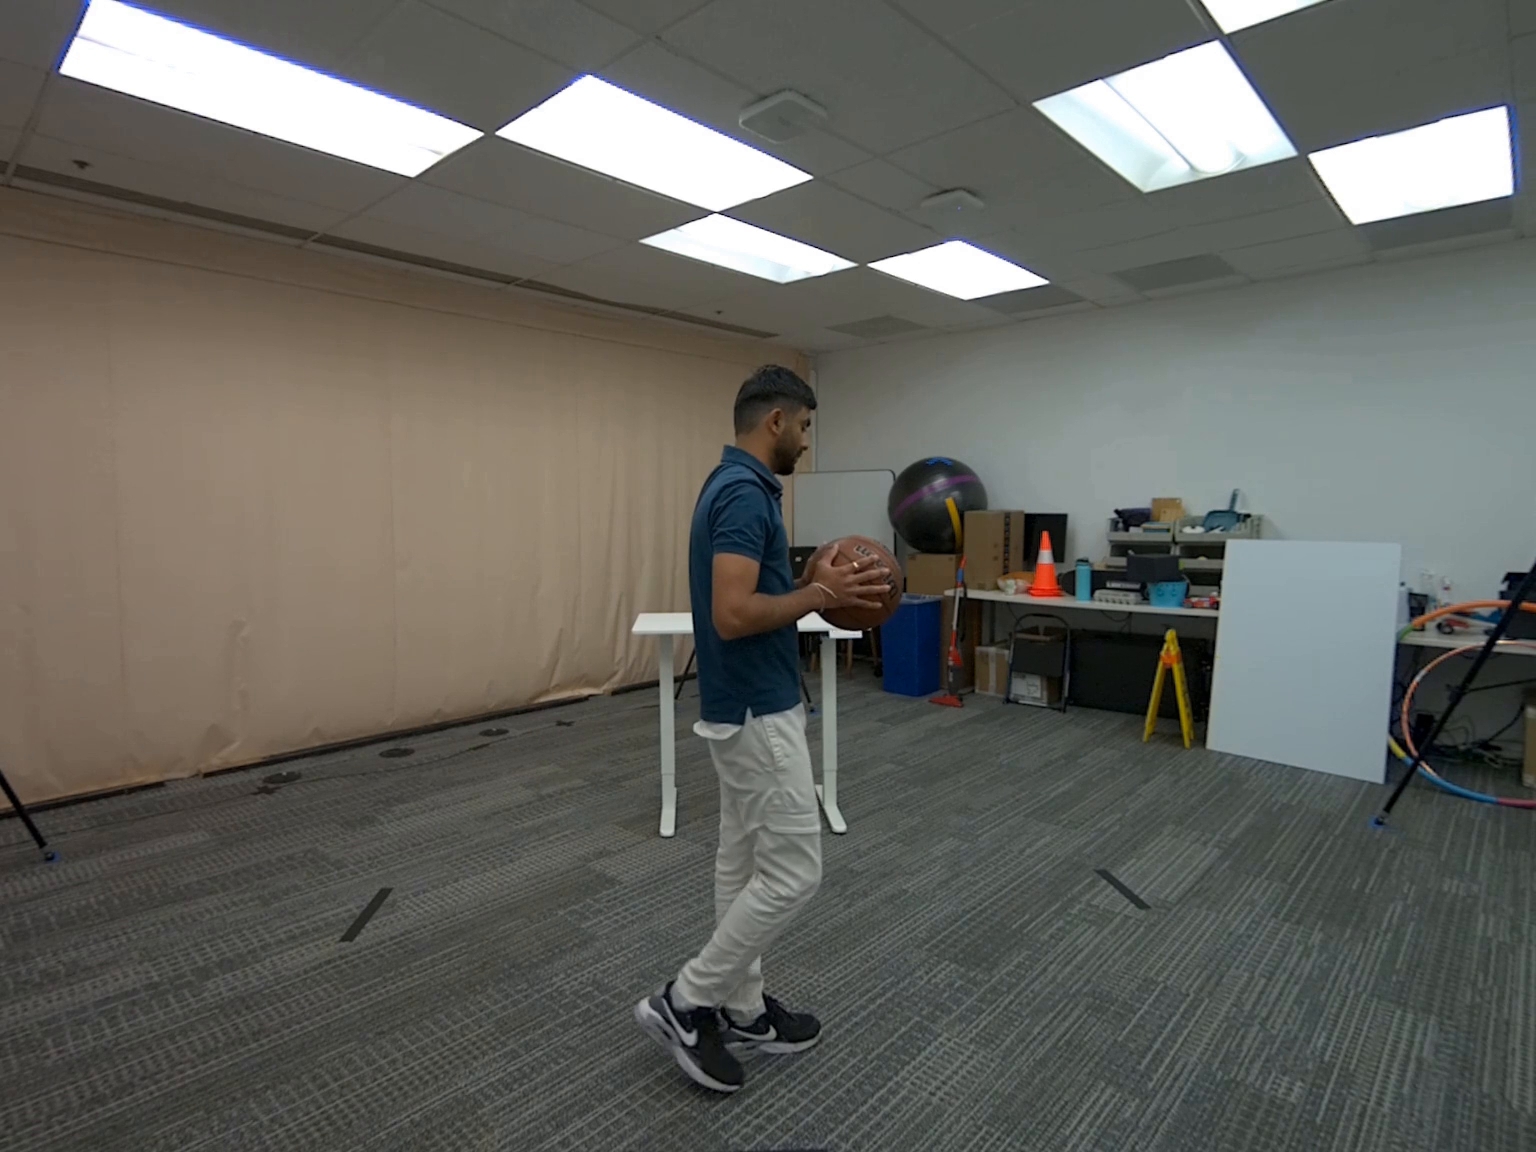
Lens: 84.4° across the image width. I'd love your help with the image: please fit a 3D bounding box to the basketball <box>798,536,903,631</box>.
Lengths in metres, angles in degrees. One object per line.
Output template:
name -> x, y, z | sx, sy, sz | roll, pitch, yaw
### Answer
basketball -> 0.227, 0.020, 2.085 | 0.236, 0.235, 0.237 | 0, 4, -2
